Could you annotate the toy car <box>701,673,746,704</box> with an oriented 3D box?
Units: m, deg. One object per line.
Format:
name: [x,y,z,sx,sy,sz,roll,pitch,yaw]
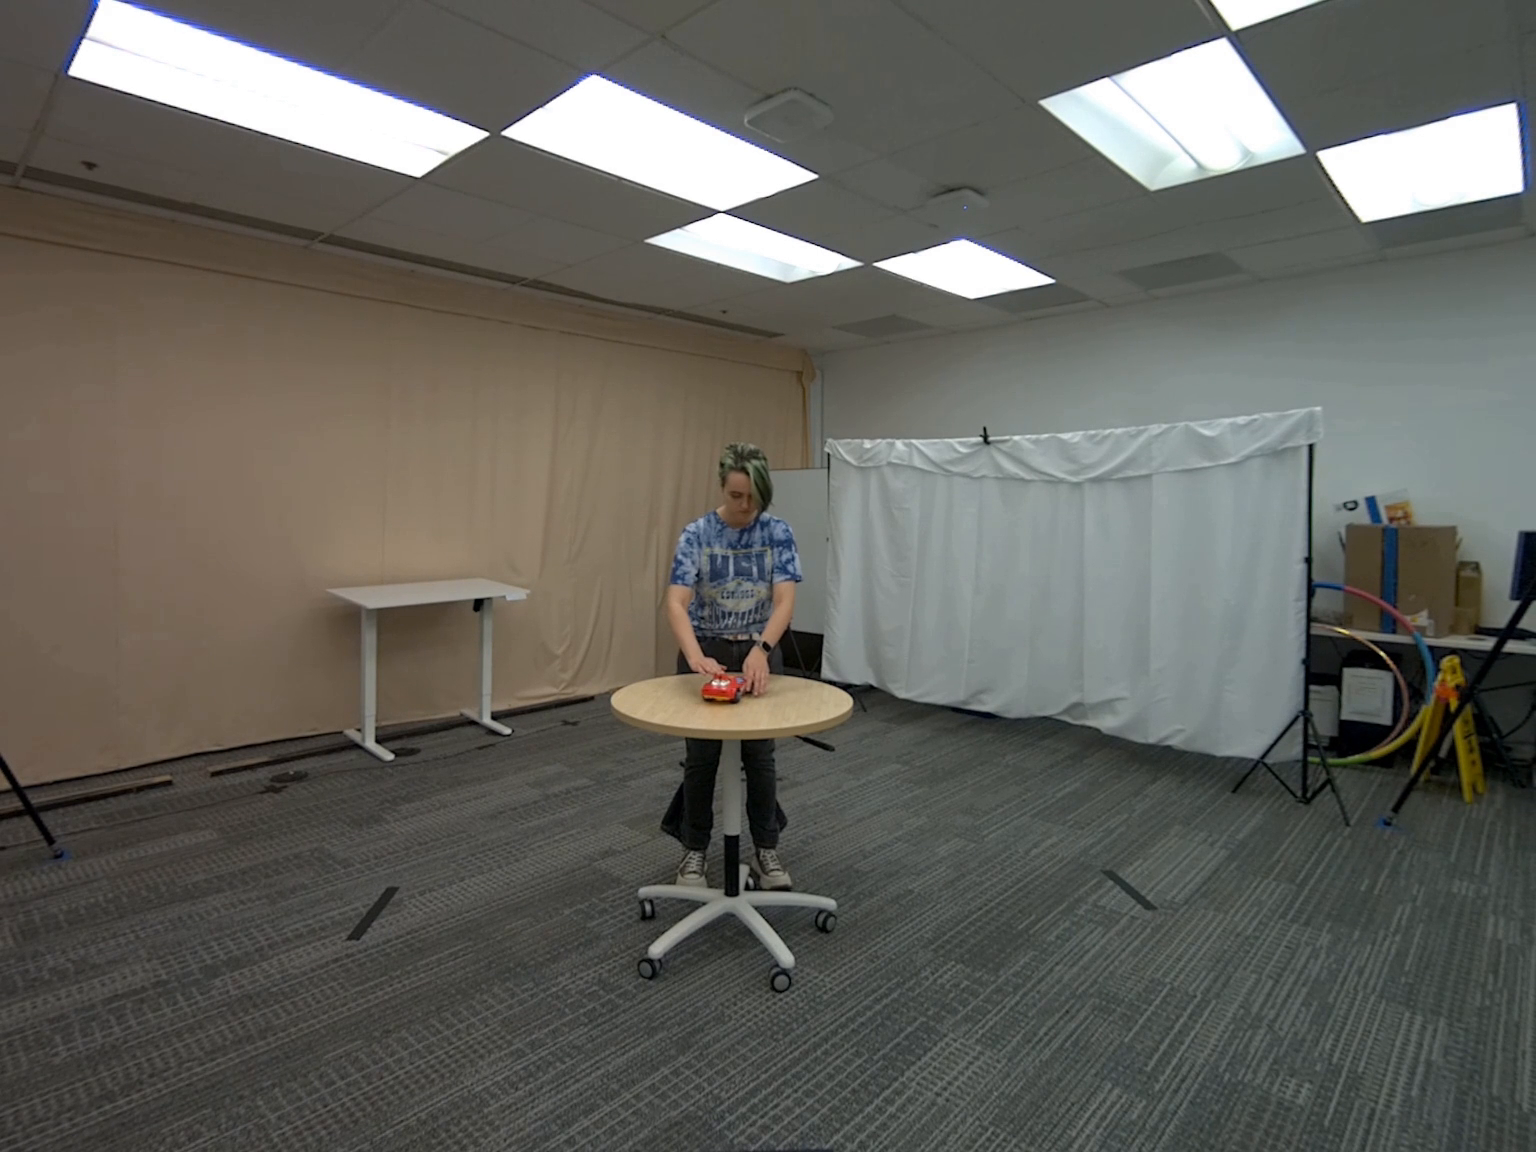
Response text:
toy car: [-0.128,0.354,2.665,0.133,0.083,0.249,3,-5,17]
